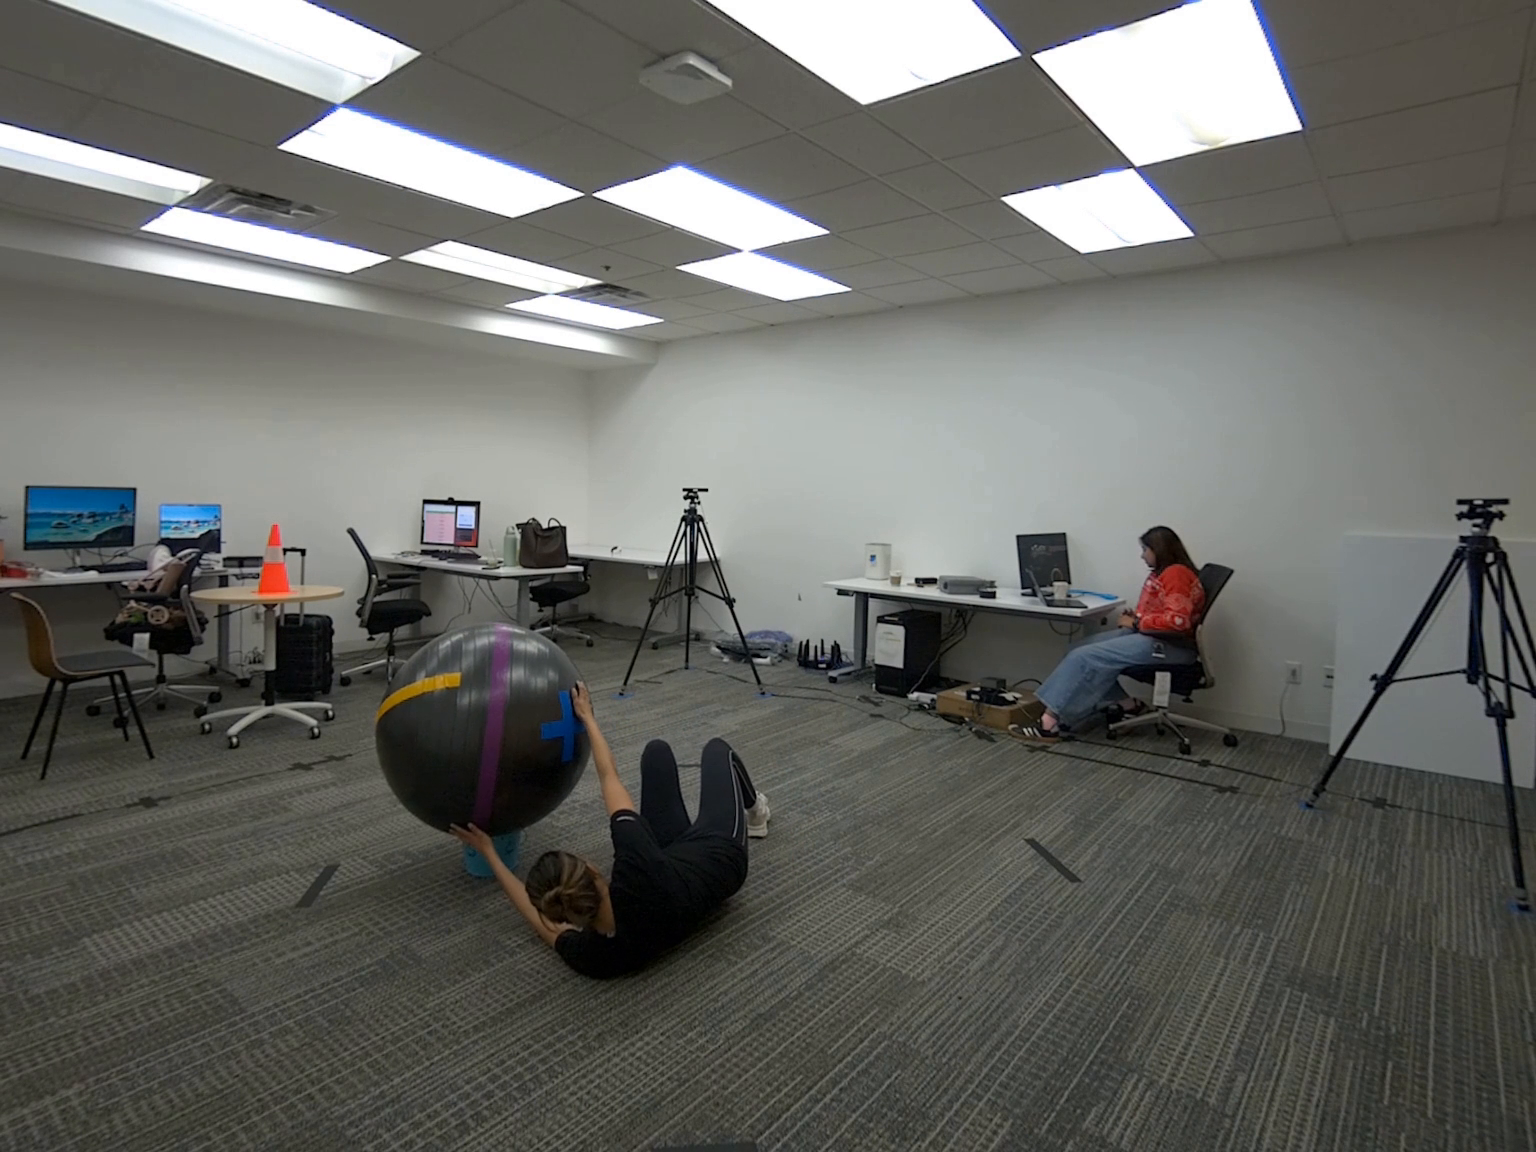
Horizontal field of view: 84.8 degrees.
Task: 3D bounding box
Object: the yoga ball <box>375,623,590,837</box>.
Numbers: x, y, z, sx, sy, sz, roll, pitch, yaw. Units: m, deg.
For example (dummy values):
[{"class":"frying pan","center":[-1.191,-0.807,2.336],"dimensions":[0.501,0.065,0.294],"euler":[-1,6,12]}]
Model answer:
[{"class":"yoga ball","center":[-1.027,0.553,3.073],"dimensions":[0.757,0.756,0.762],"euler":[1,4,-2]}]
